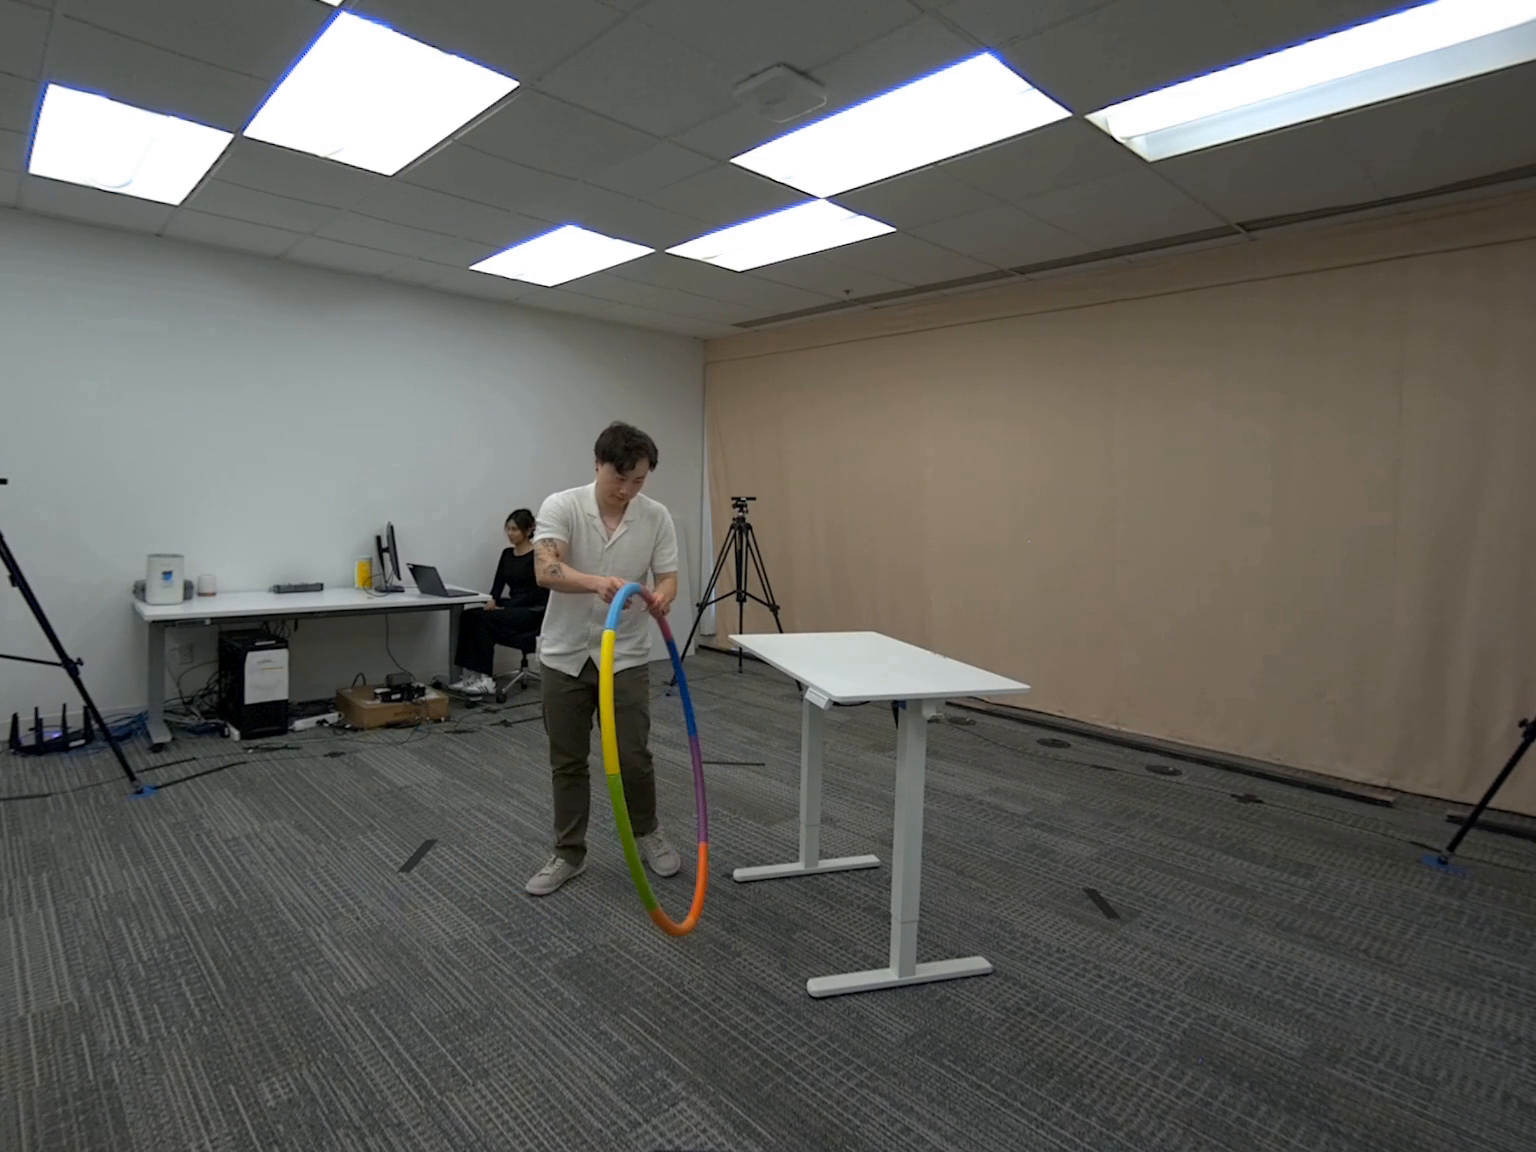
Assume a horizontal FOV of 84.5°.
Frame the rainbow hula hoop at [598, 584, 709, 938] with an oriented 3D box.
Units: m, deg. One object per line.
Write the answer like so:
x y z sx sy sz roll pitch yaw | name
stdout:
-0.318 0.517 2.465 0.036 0.977 0.976 -11 3 6 | rainbow hula hoop
